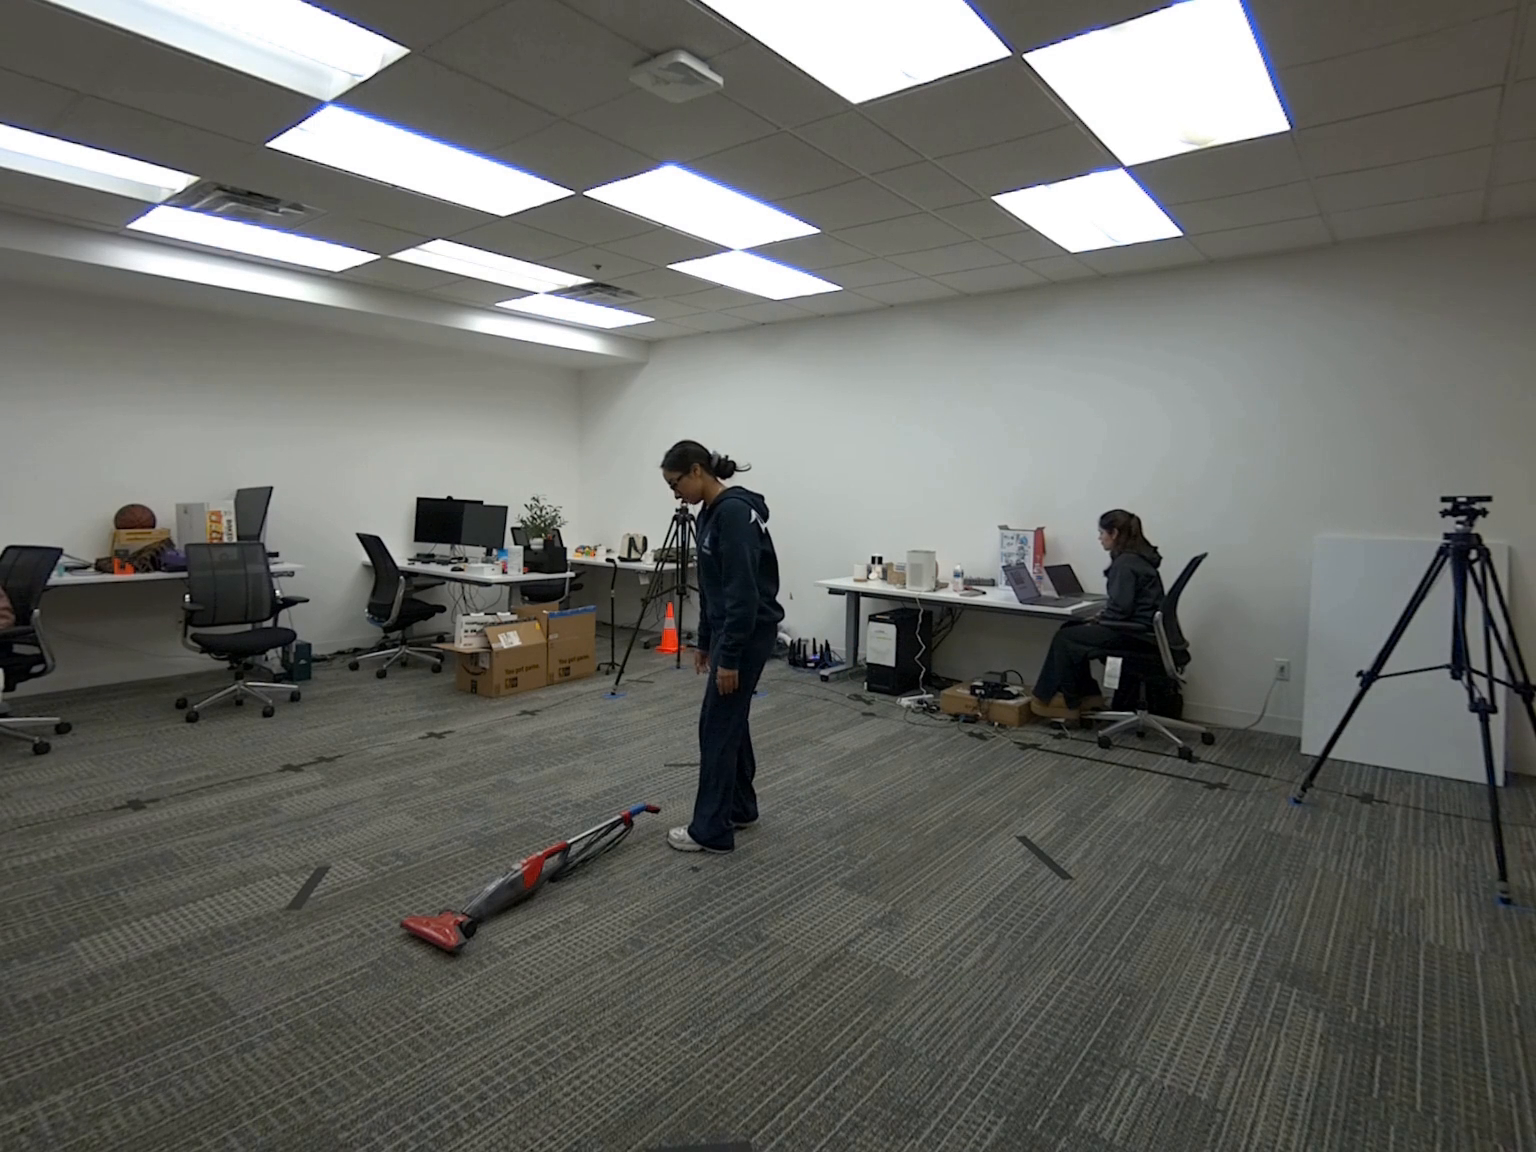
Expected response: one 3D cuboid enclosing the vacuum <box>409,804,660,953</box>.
[{"bbox_3d":[-0.735,1.017,3.031,0.260,0.143,1.023,1,7,31],"label":"vacuum"}]
